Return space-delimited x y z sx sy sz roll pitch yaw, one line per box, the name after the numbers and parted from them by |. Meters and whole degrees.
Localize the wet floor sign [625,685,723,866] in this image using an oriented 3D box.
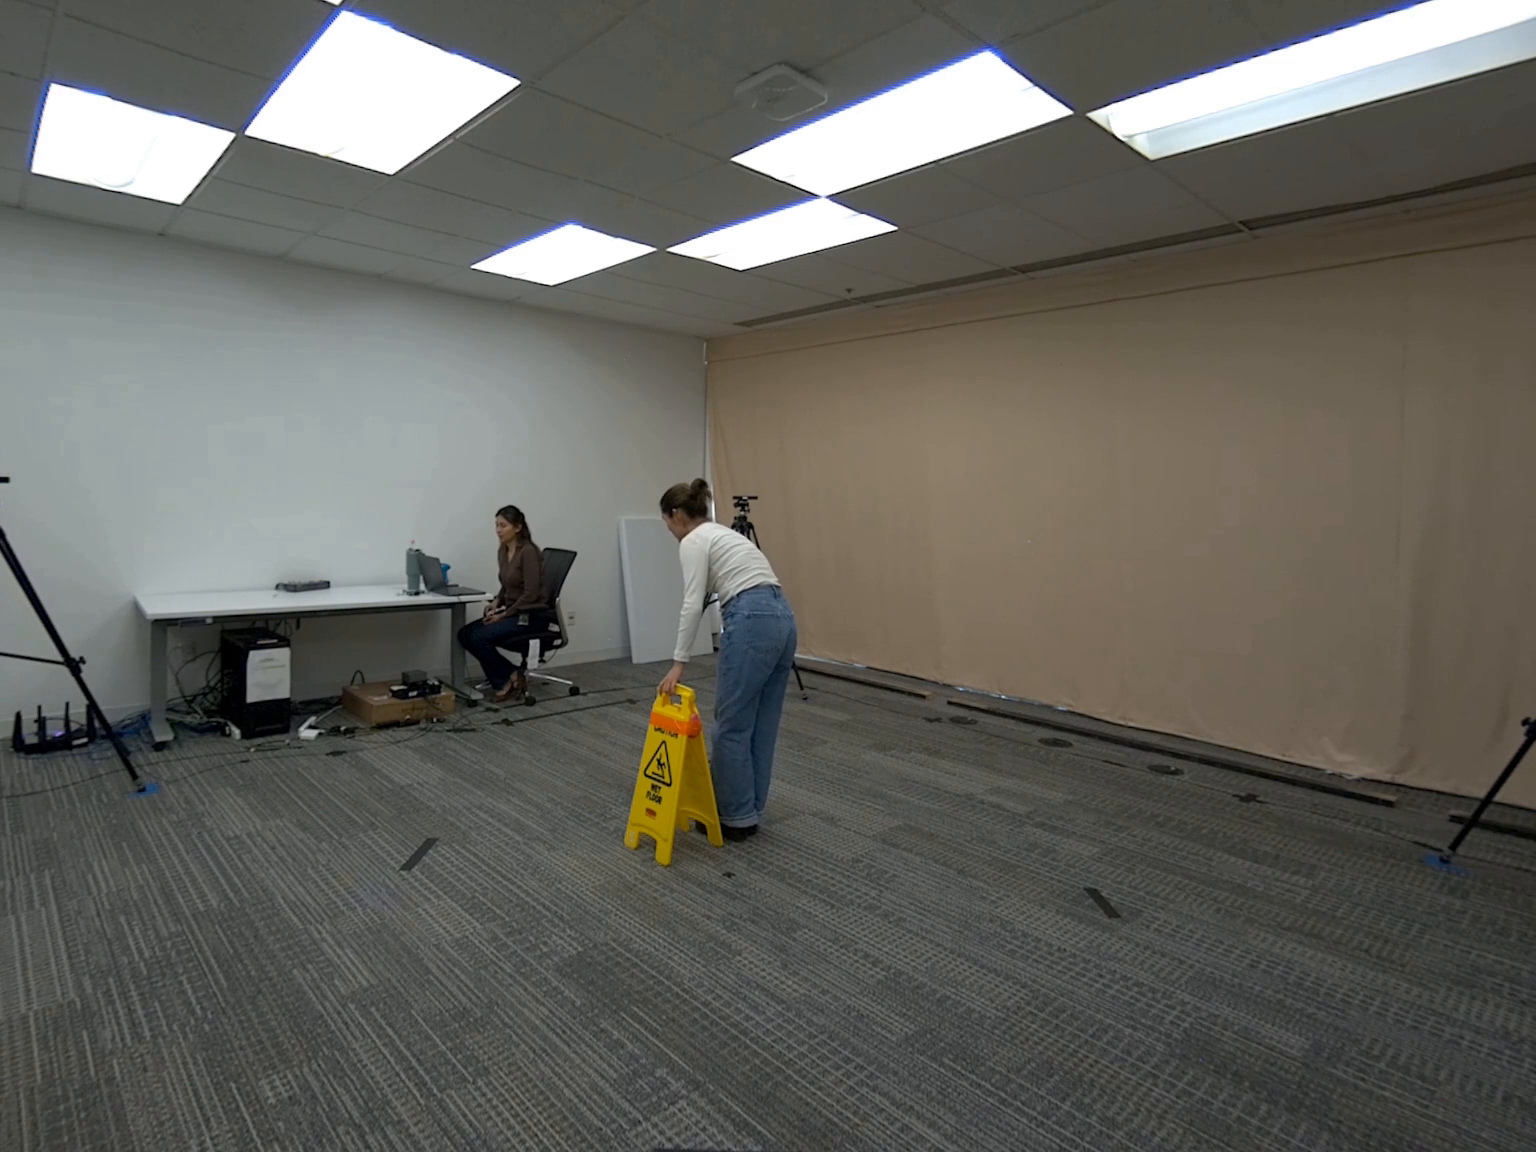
-0.374 0.753 3.341 0.283 0.645 0.289 -1 4 -45 | wet floor sign
